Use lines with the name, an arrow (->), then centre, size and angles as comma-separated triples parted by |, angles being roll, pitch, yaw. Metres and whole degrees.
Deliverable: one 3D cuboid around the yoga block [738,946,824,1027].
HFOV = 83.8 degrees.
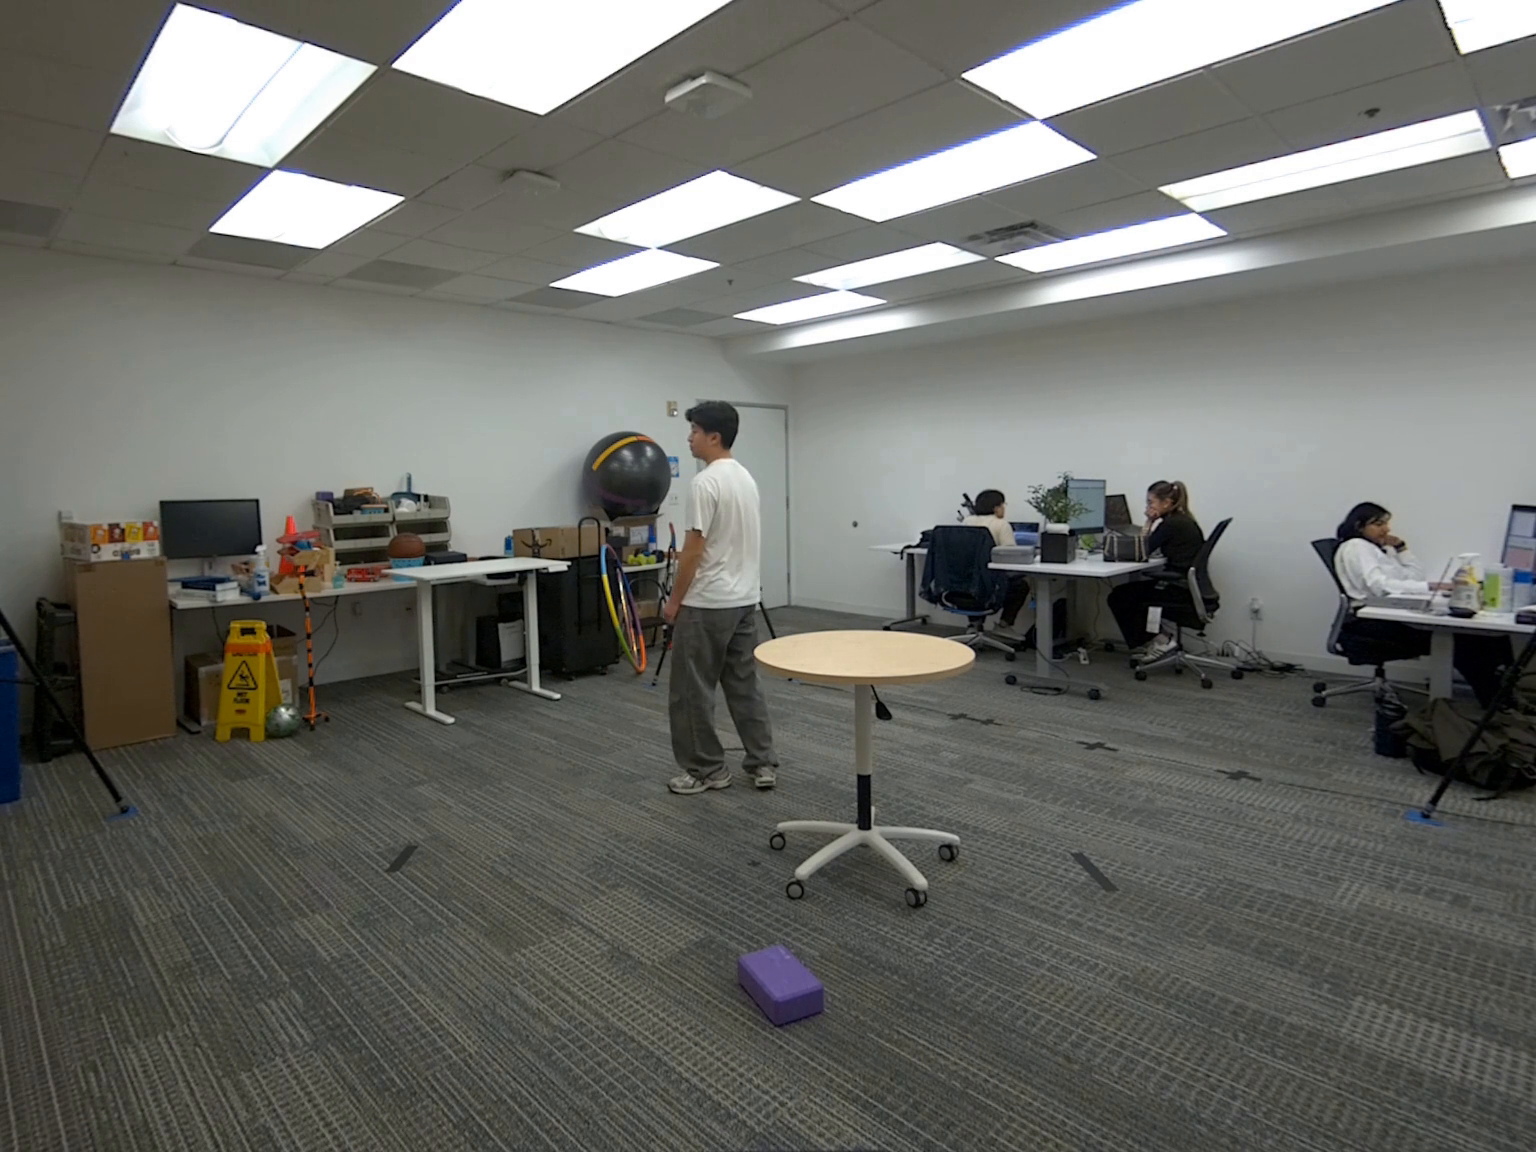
yoga block -> 0.036, 1.106, 2.308 | 0.146, 0.076, 0.235 | -4, 7, -27
